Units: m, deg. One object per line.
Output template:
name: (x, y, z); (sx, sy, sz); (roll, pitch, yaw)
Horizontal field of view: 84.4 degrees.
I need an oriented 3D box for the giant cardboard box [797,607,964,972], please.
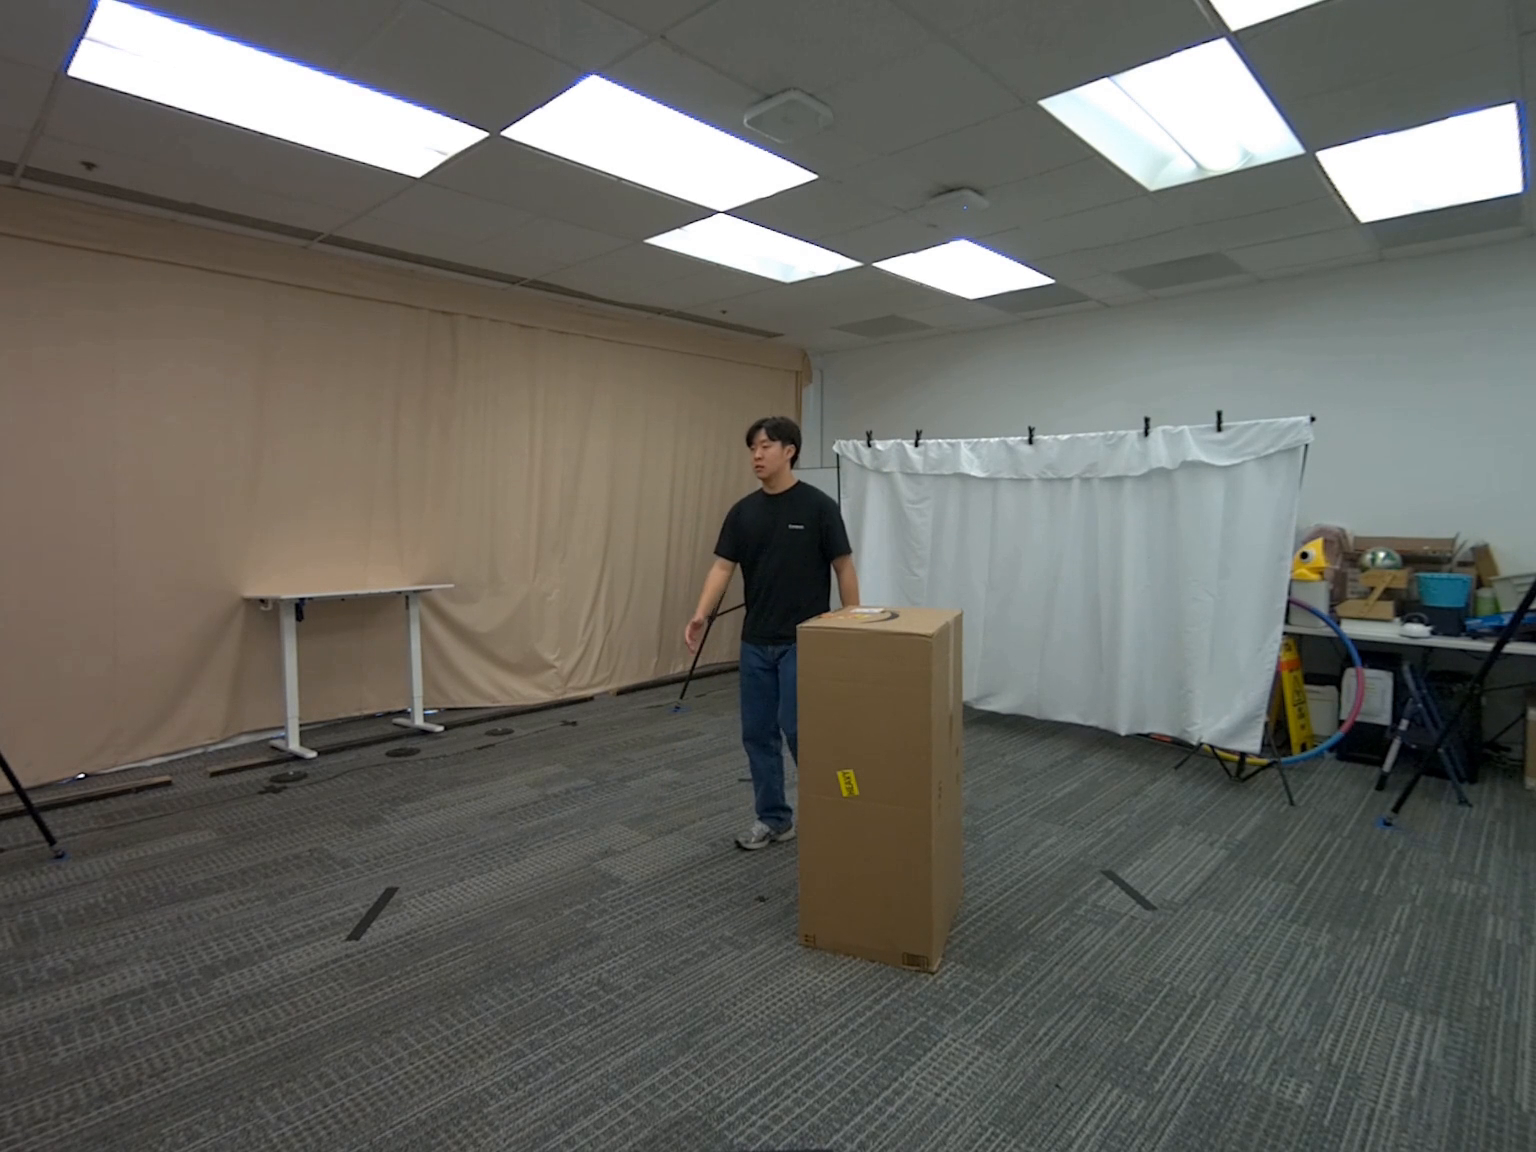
giant cardboard box: (0.400, 0.645, 2.814); (0.458, 1.025, 0.571); (0, 3, 24)
